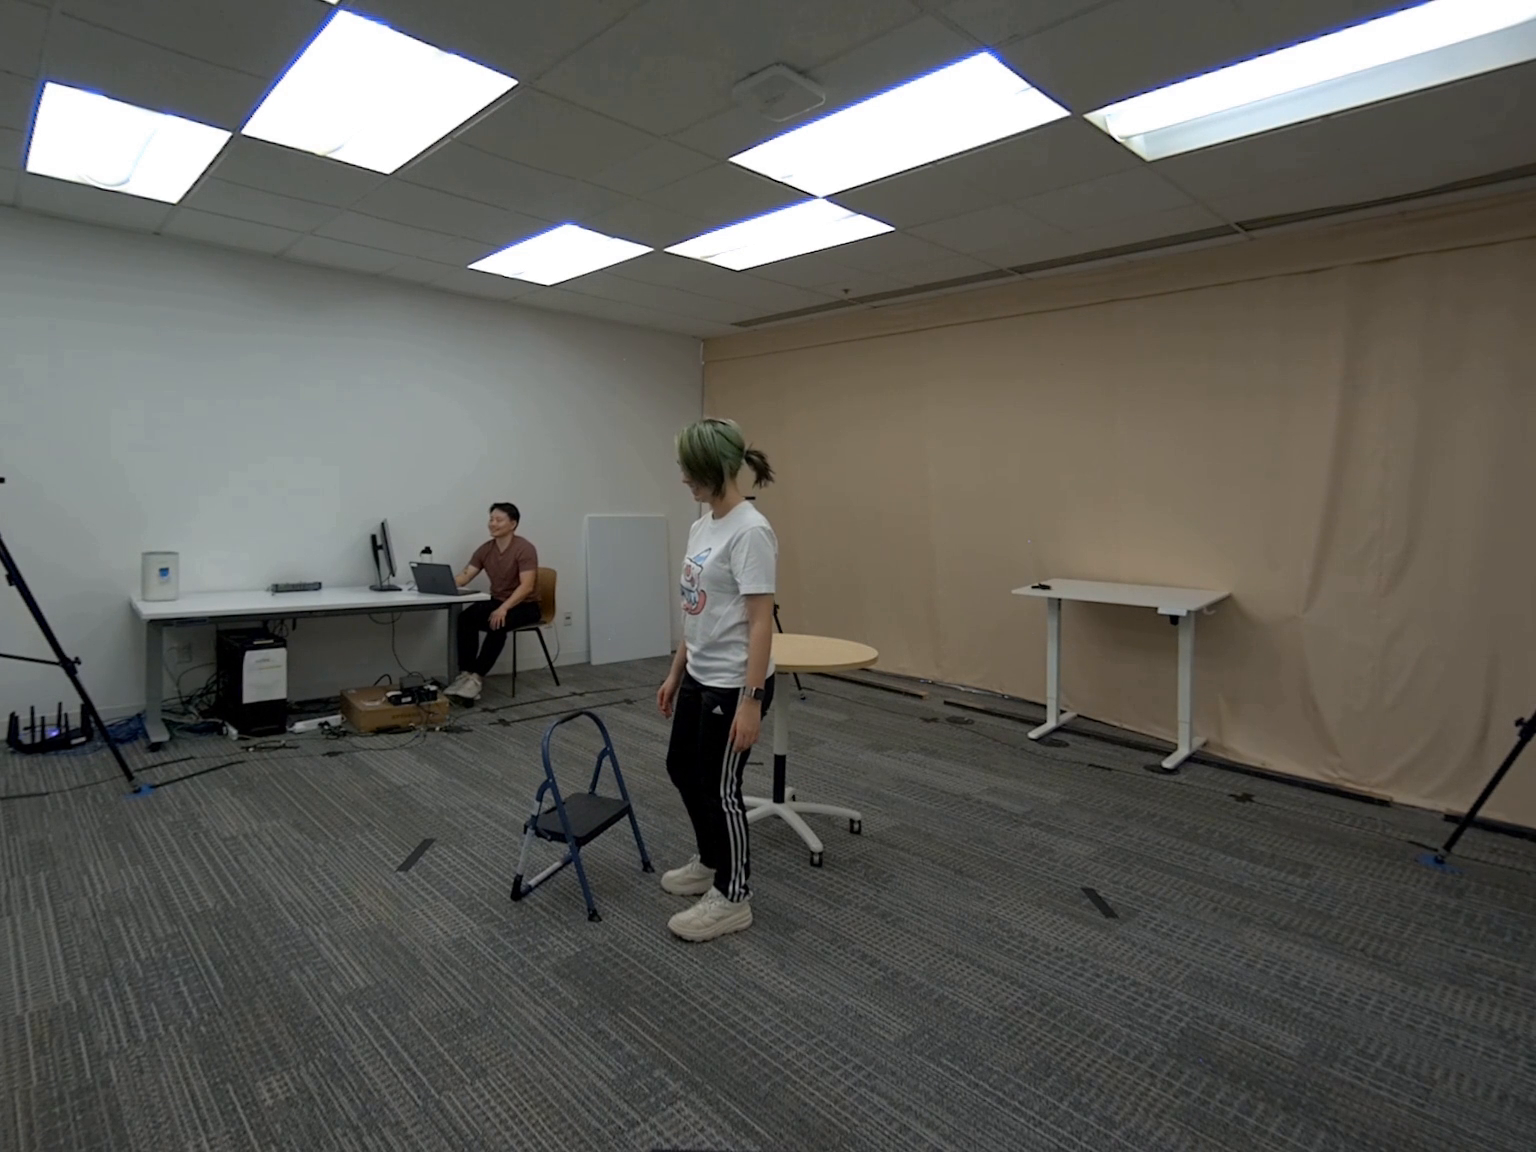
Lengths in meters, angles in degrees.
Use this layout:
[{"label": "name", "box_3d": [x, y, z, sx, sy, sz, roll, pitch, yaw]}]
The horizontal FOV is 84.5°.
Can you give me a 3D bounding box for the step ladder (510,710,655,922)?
[{"label": "step ladder", "box_3d": [-0.653, 0.802, 2.987, 0.355, 0.605, 0.425, 3, 4, 19]}]
